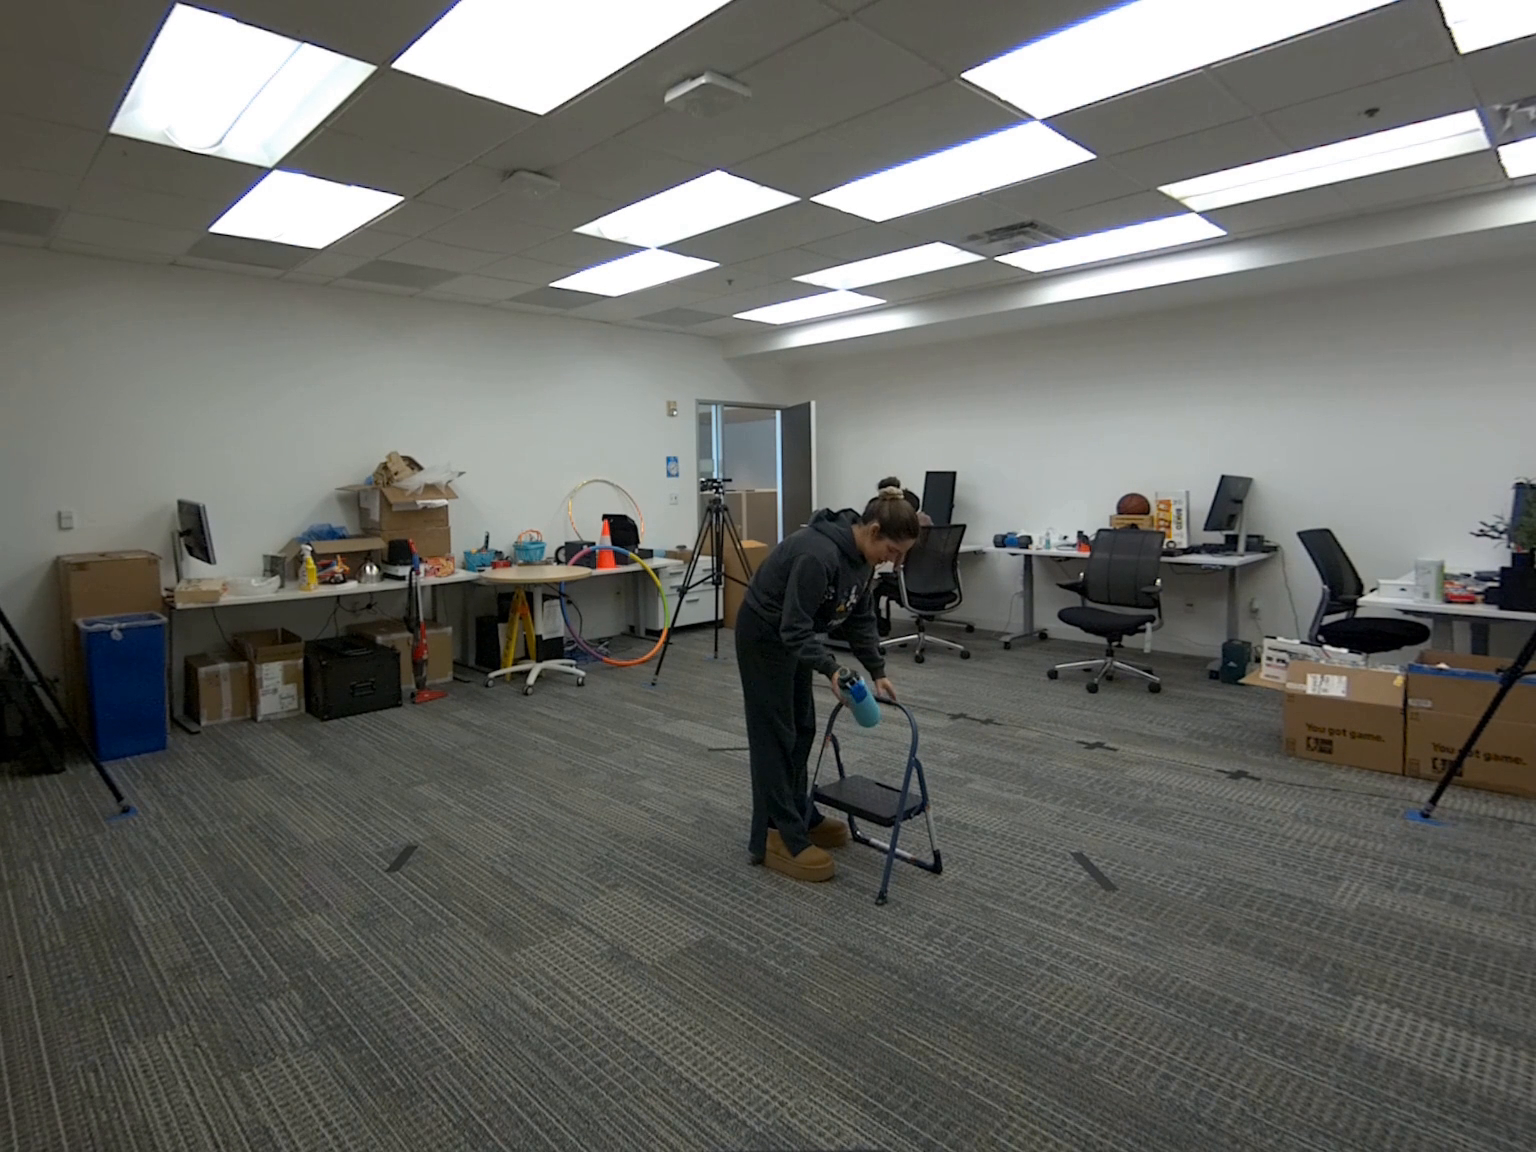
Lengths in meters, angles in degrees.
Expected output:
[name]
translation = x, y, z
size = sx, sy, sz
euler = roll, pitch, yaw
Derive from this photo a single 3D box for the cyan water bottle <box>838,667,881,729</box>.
[cyan water bottle]
translation = 0.323, 0.408, 2.855
size = 0.094, 0.094, 0.273
euler = 1, -33, 20
